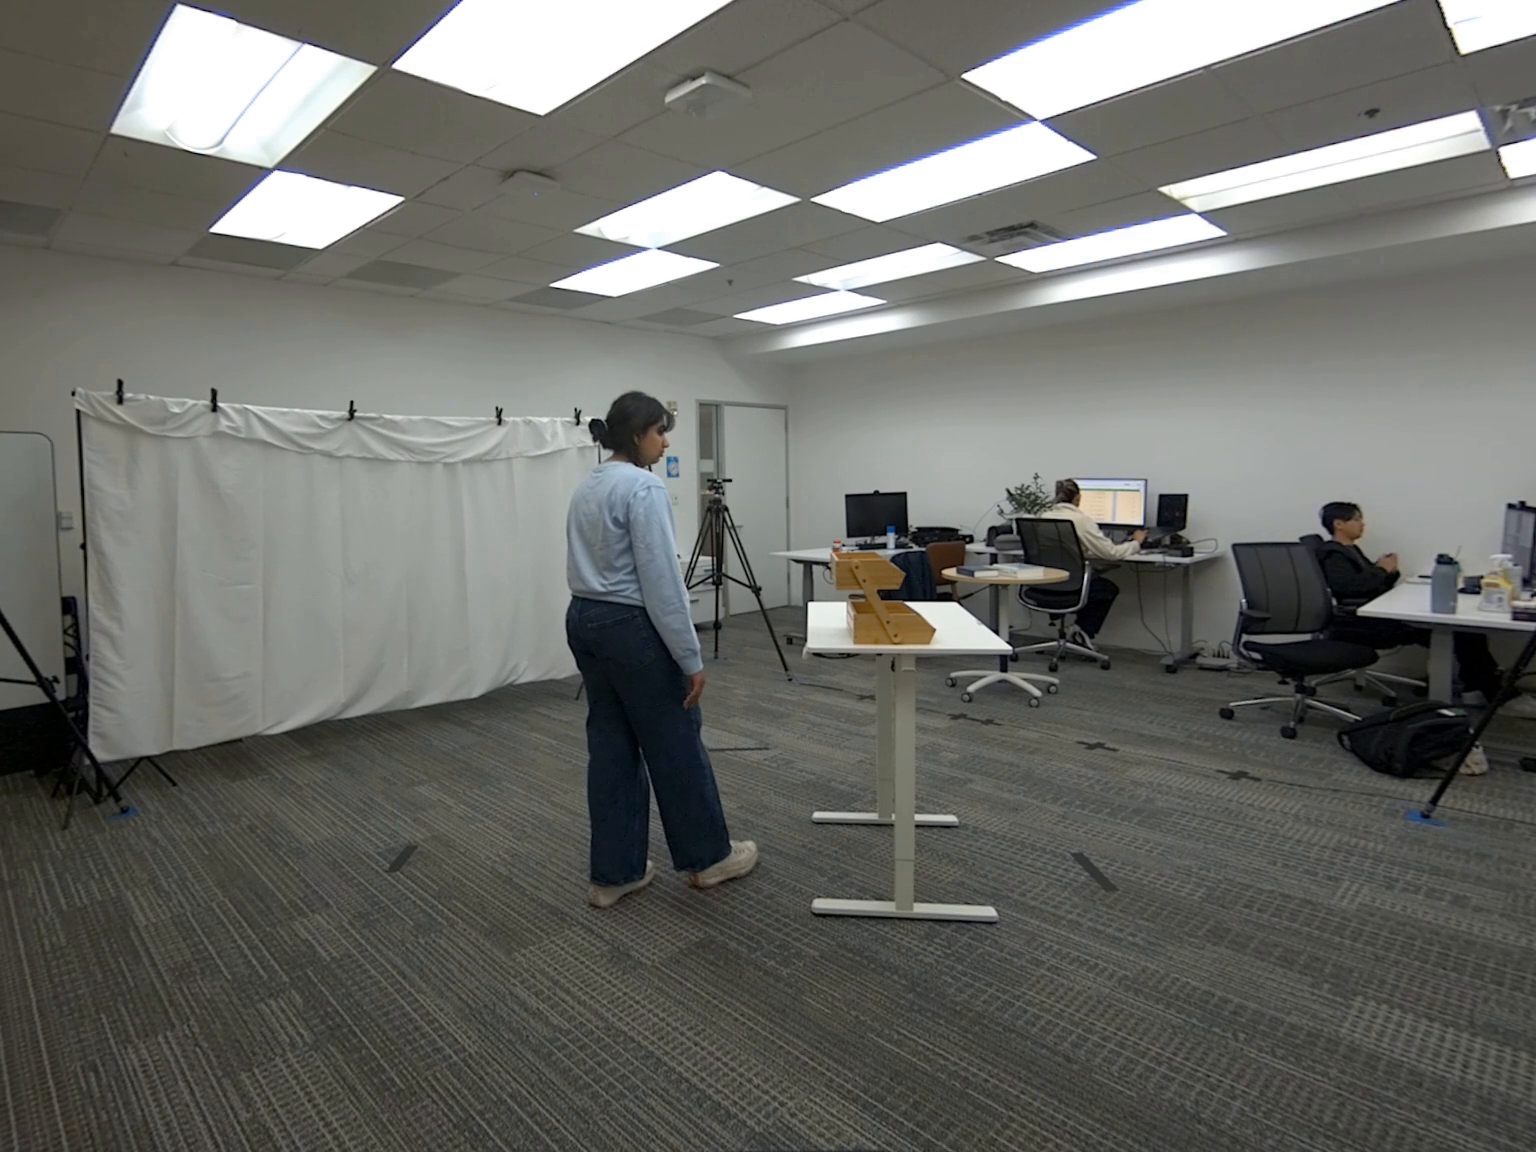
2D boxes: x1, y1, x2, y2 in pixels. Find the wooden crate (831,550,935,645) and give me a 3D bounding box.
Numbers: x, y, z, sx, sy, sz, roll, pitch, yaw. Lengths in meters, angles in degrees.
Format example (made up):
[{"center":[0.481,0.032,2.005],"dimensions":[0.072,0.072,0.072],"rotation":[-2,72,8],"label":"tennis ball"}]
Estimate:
[{"center":[0.362,0.060,2.747],"dimensions":[0.303,0.272,0.324],"rotation":[-1,5,3],"label":"wooden crate"}]
